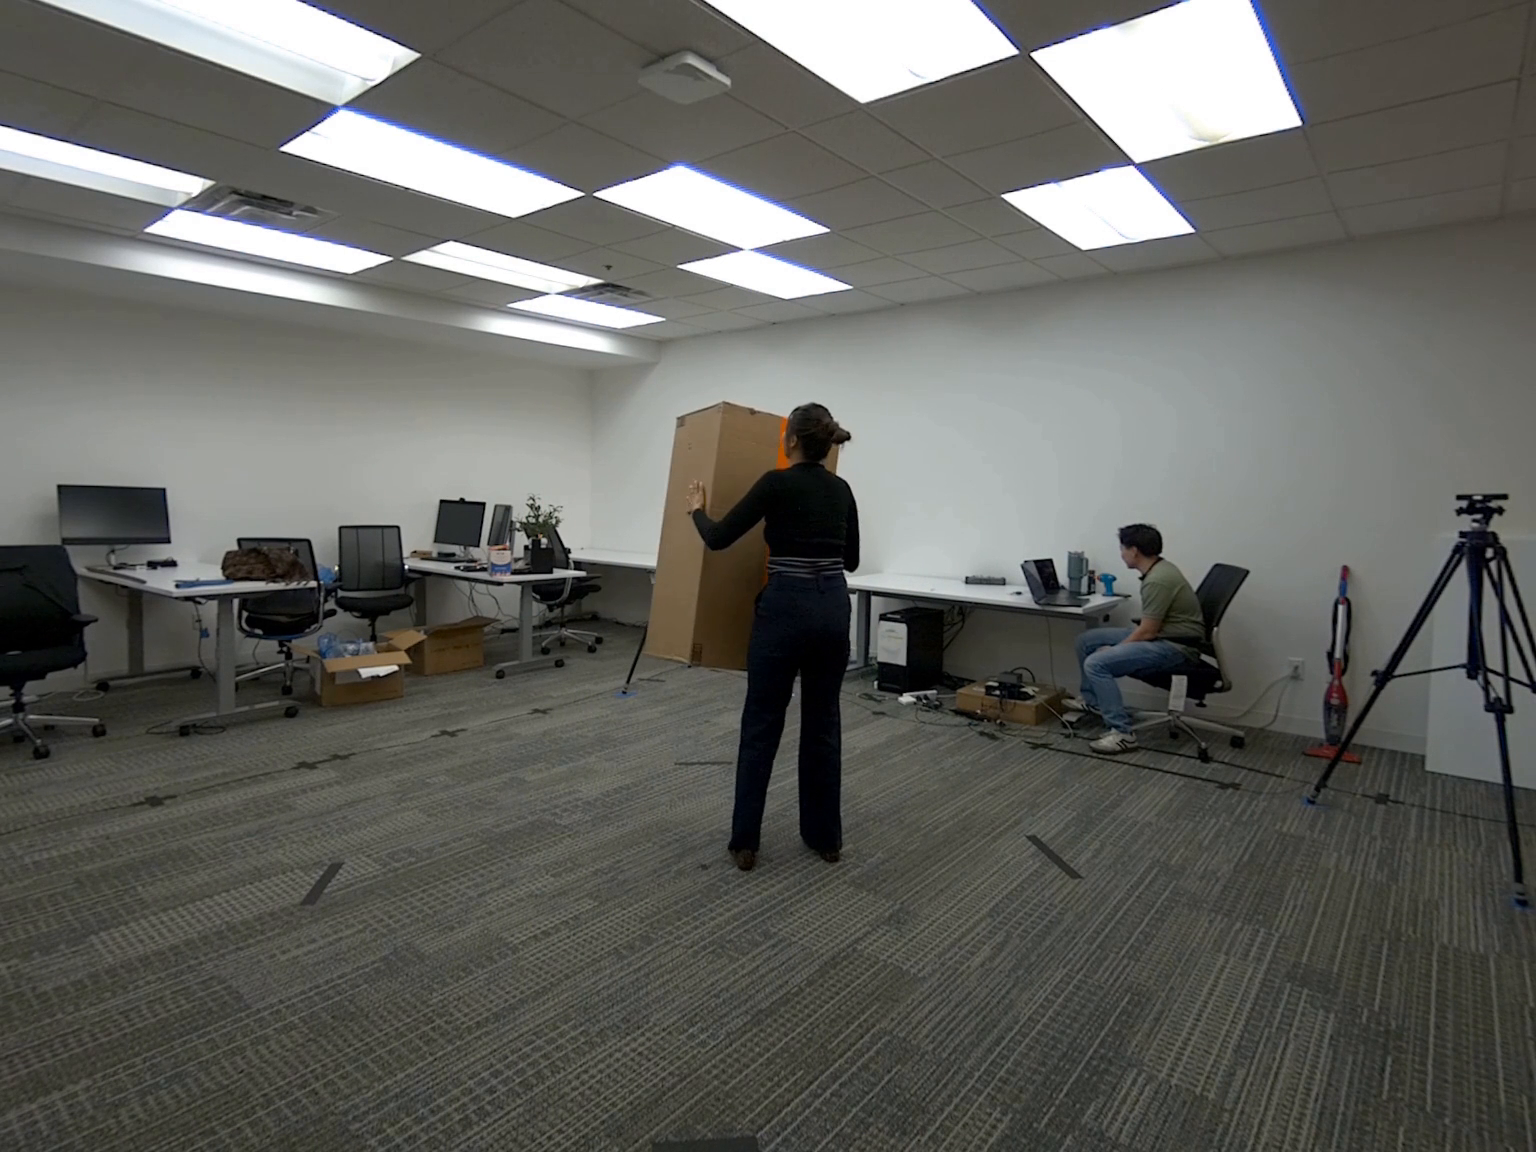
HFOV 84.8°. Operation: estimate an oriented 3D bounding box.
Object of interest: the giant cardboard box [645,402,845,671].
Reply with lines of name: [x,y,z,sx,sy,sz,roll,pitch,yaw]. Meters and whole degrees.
giant cardboard box: [-0.115,-0.133,3.536,0.560,1.031,0.437,11,-7,-30]
